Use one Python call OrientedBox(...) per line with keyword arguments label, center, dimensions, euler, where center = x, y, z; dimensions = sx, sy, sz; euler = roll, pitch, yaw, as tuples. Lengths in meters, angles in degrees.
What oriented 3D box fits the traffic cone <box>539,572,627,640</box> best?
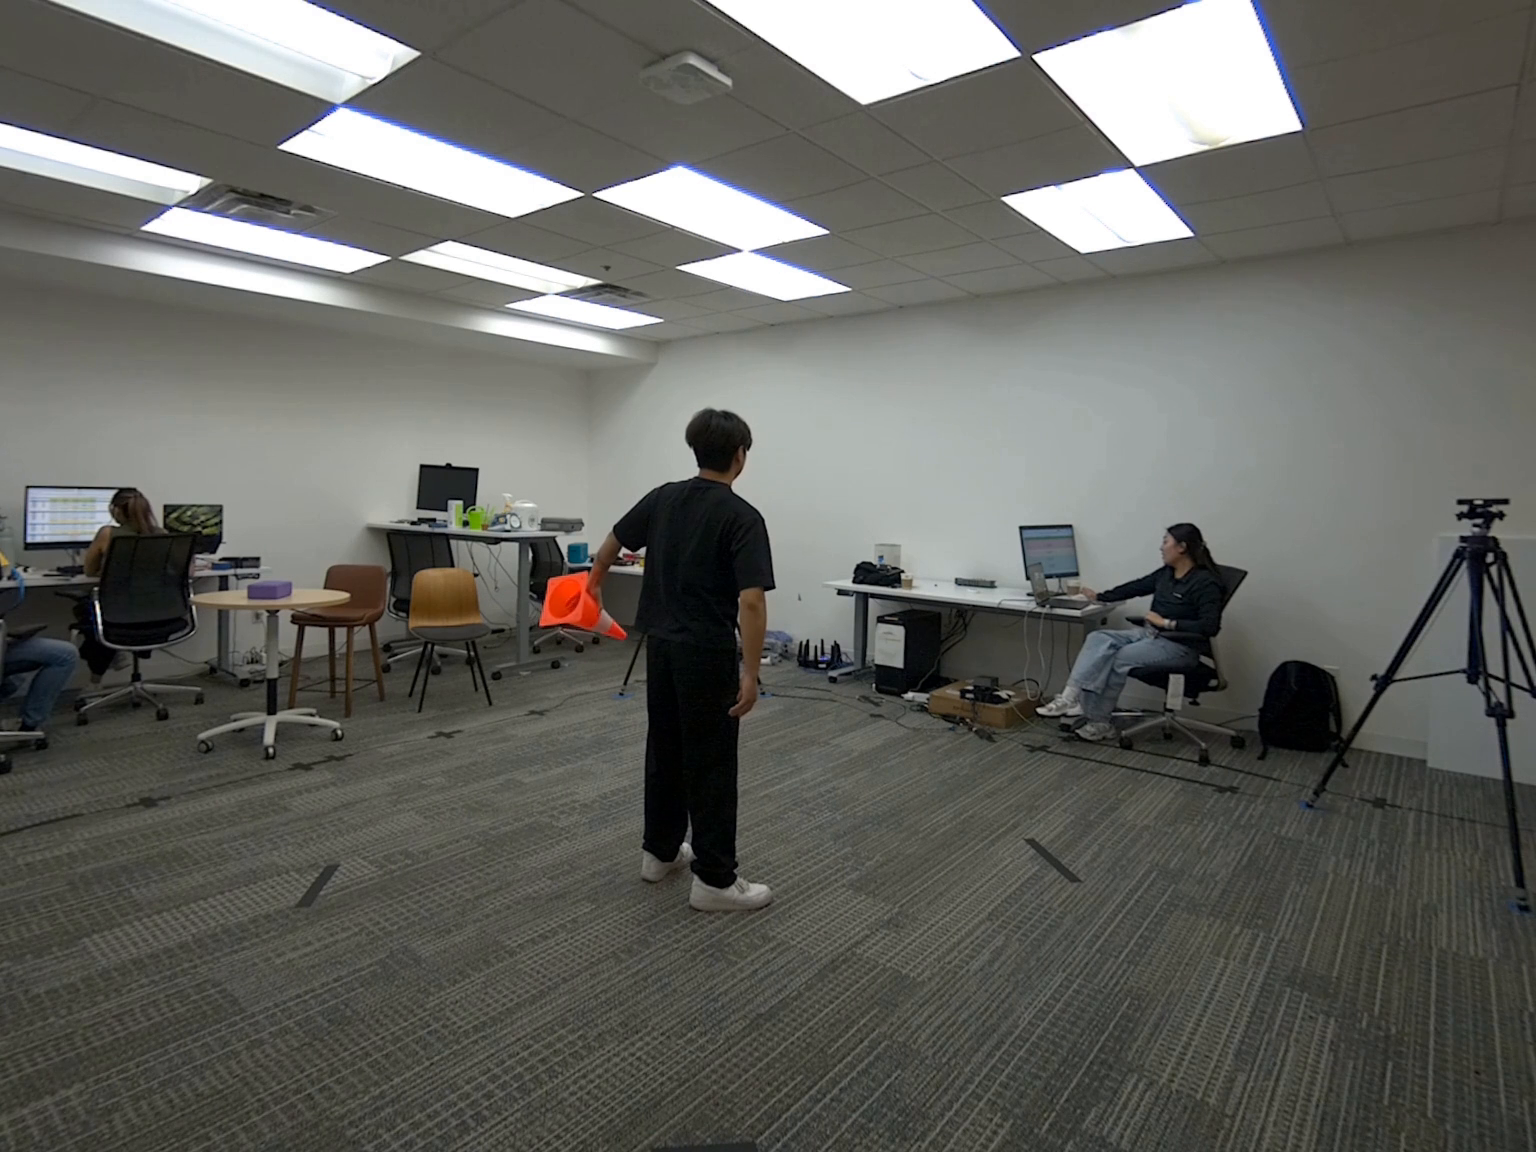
OrientedBox(label="traffic cone", center=(-0.683, 0.167, 3.315), dimensions=(0.210, 0.207, 0.367), euler=(-8, -32, 28))
